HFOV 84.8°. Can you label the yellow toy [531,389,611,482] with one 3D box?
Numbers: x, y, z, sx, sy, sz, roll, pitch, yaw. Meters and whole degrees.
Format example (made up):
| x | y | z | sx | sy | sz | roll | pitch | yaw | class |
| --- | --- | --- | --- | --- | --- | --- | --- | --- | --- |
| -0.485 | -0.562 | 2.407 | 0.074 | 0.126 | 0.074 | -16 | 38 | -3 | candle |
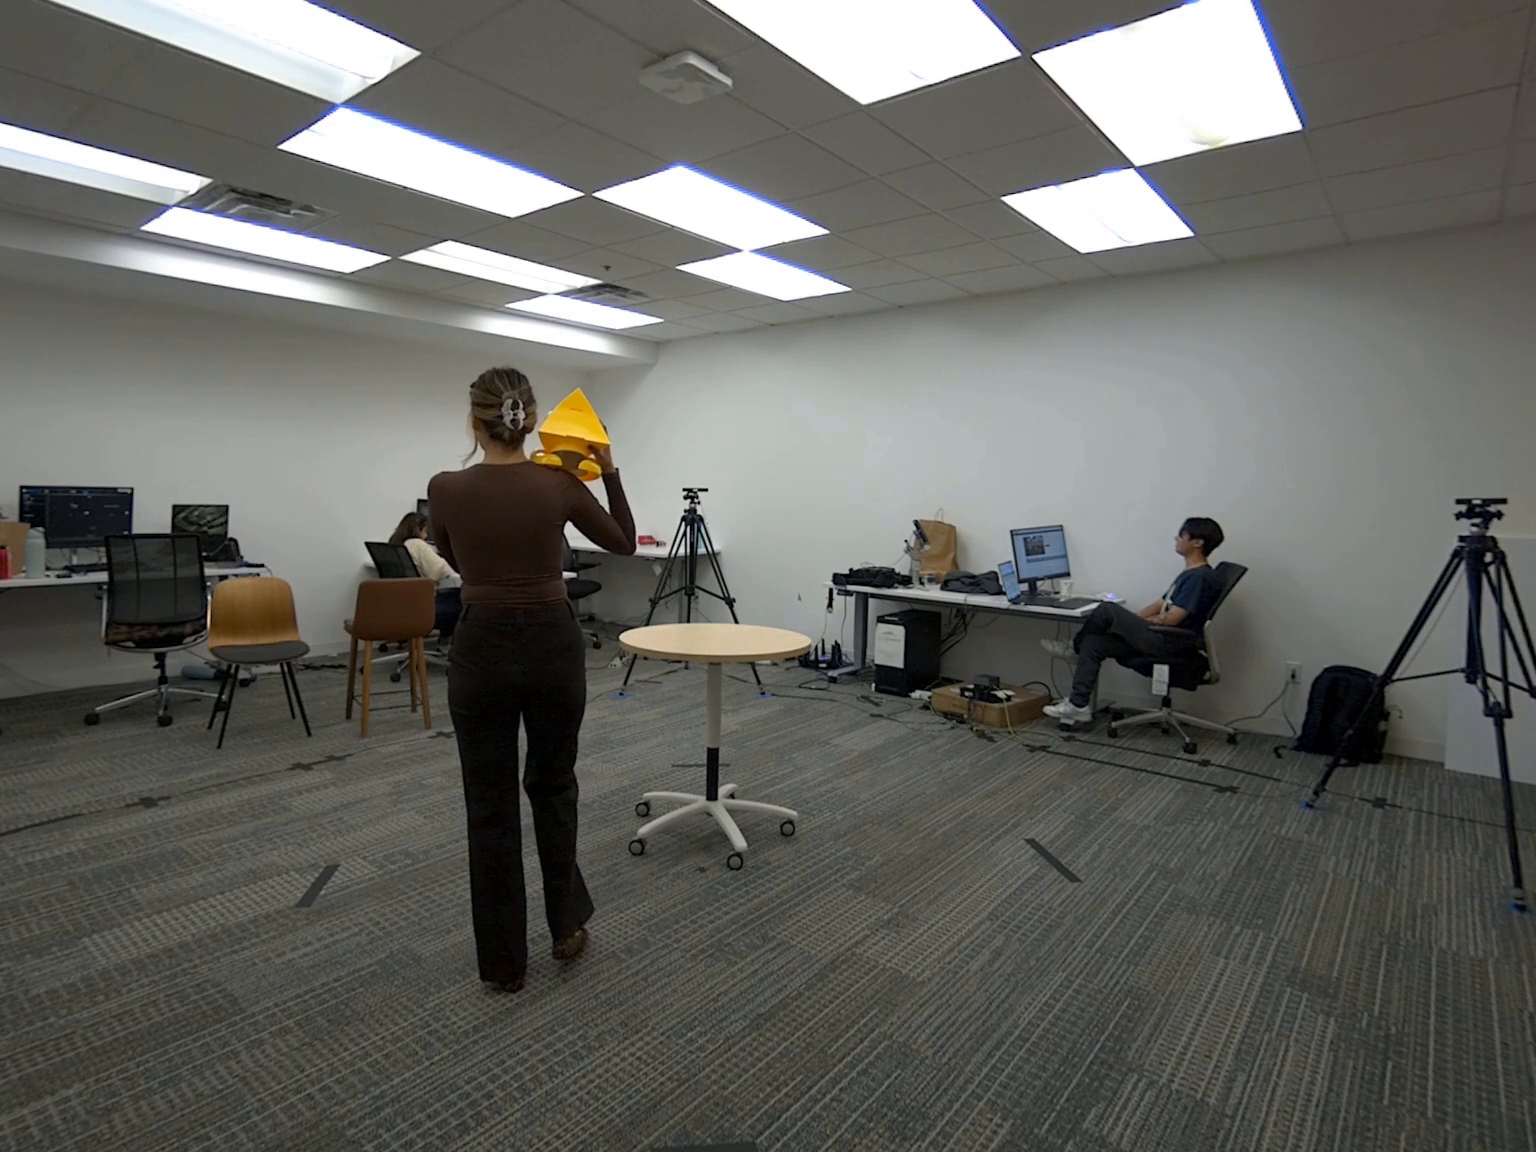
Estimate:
| x | y | z | sx | sy | sz | roll | pitch | yaw | class |
| --- | --- | --- | --- | --- | --- | --- | --- | --- | --- |
| -0.579 | -0.407 | 2.416 | 0.199 | 0.233 | 0.196 | 8 | -10 | -24 | yellow toy |
